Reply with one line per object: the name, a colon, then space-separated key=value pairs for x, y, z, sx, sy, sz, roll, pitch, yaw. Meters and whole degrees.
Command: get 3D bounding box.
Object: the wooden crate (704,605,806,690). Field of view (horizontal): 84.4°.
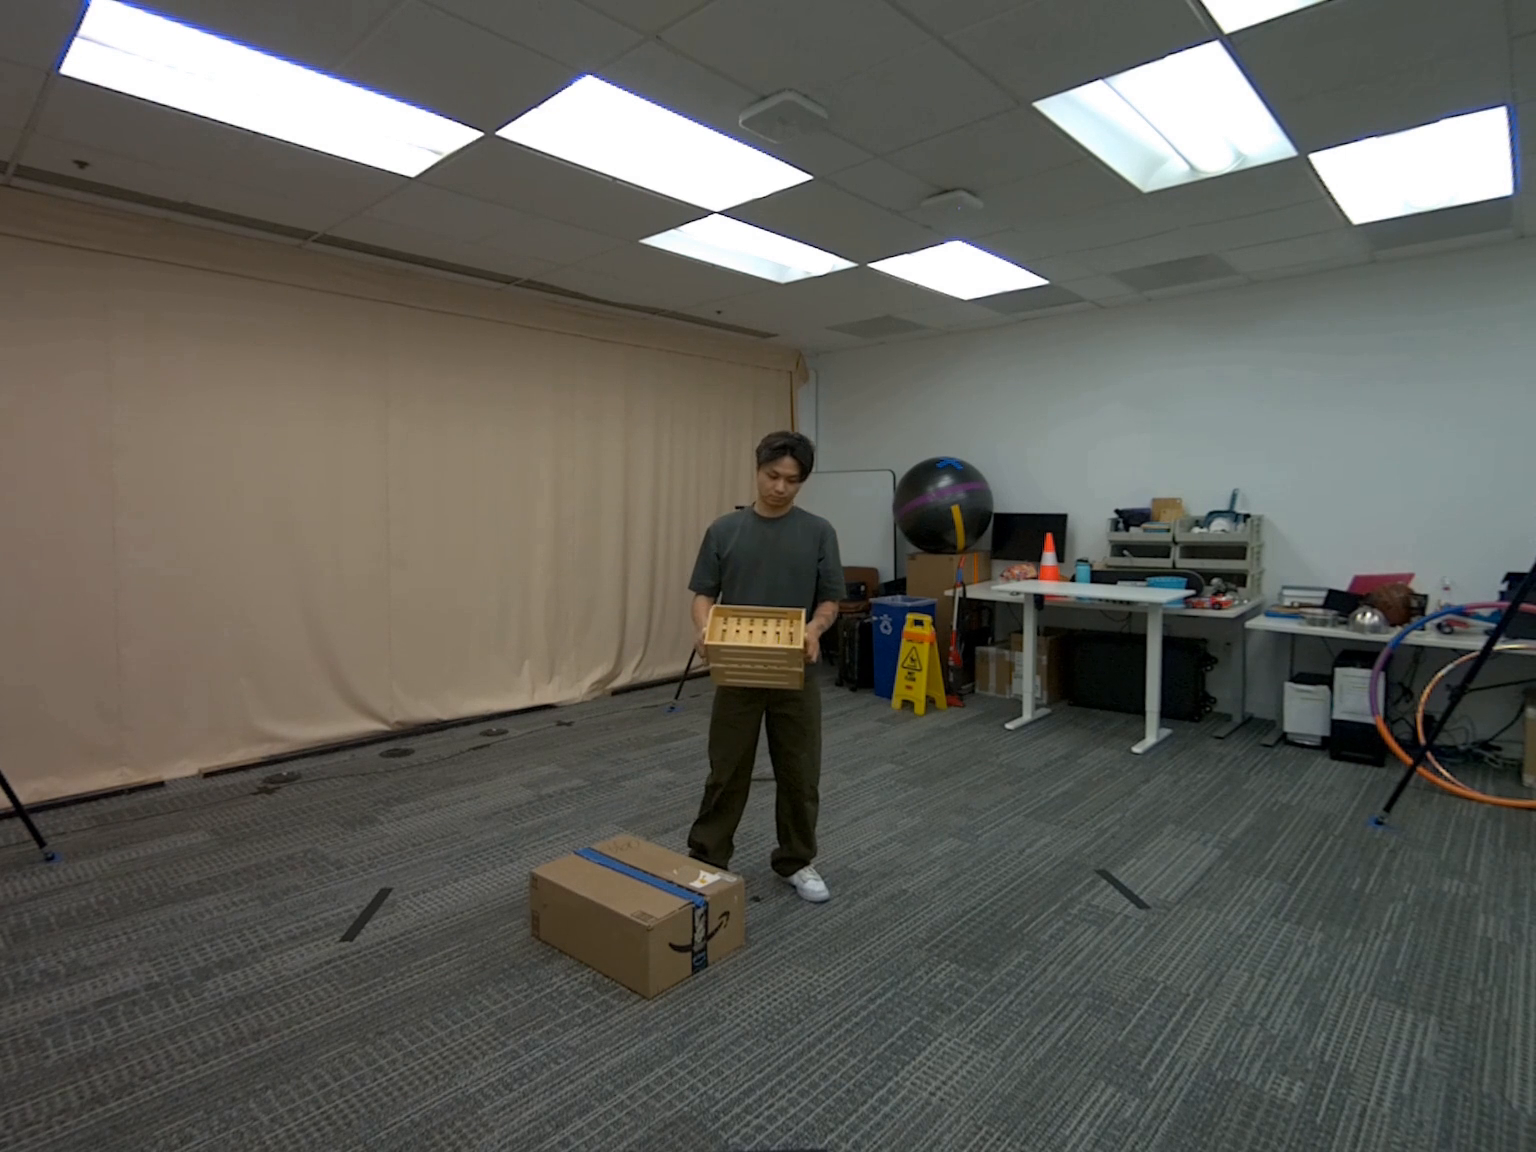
wooden crate: x=-0.031 y=0.195 z=2.753 sx=0.326 sy=0.267 sz=0.306 roll=0 pitch=43 yaw=5
